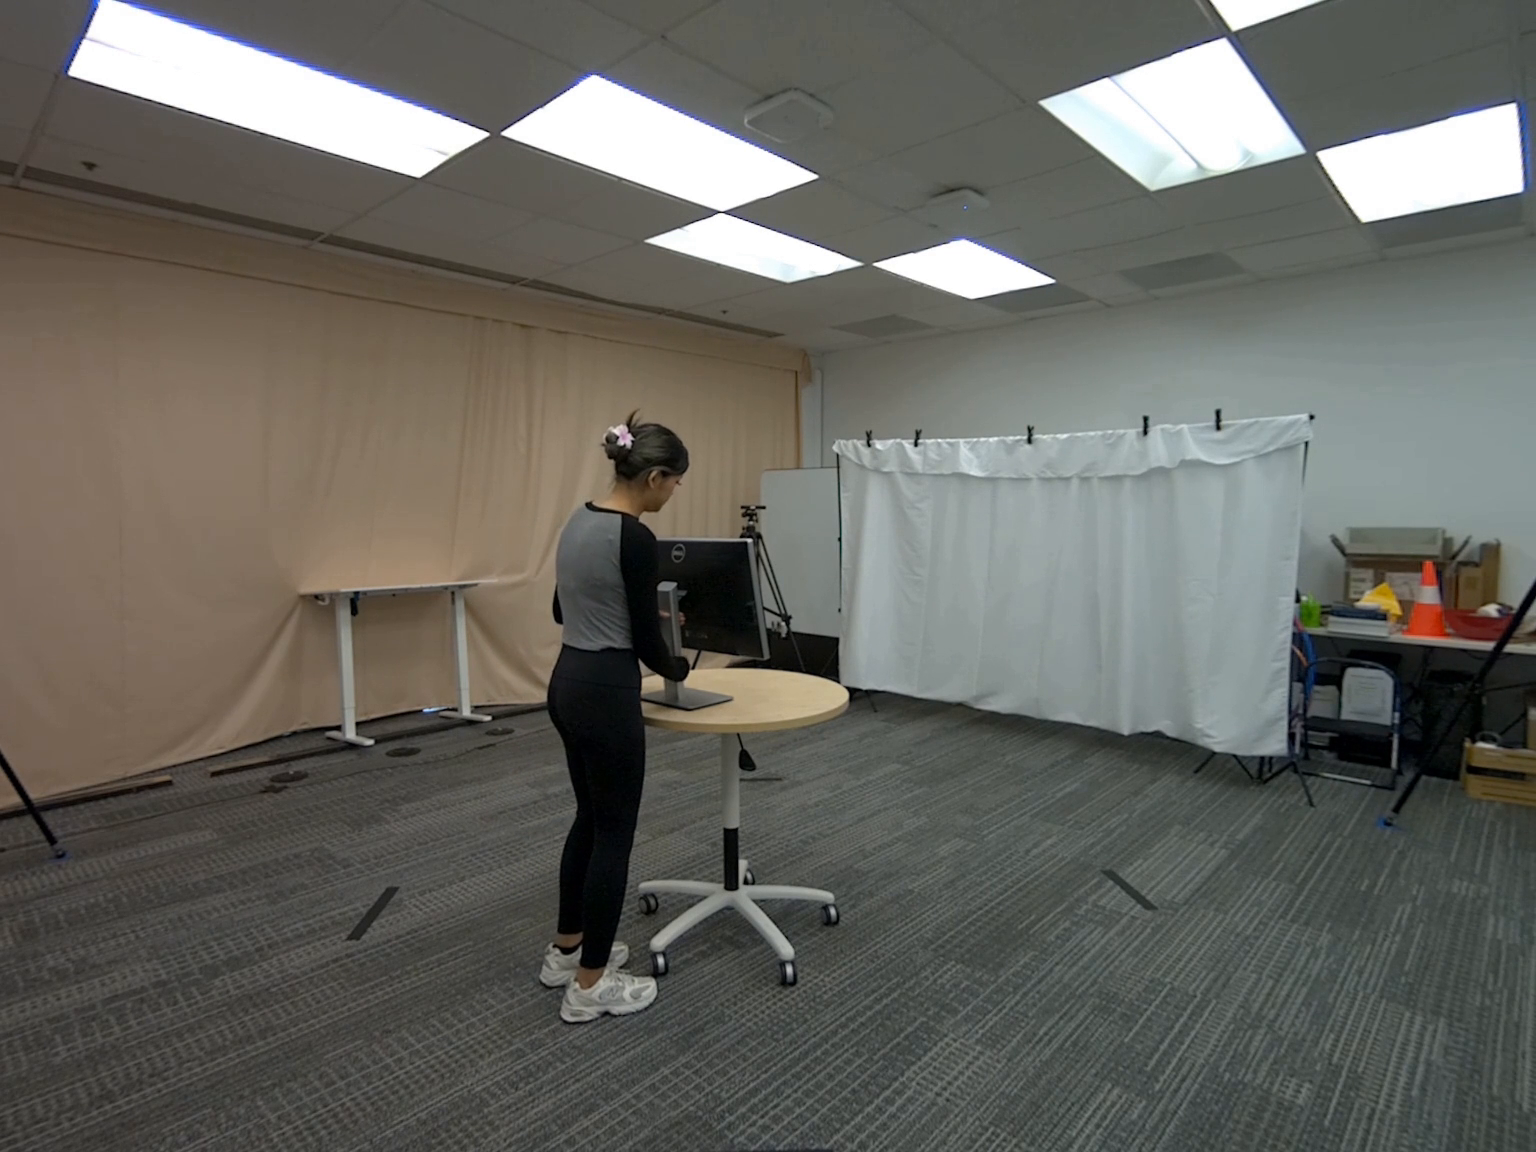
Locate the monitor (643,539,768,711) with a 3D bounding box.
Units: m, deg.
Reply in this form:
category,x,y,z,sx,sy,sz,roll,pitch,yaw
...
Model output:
category,x,y,z,sx,sy,sz,roll,pitch,yaw
monitor,-0.261,0.144,2.616,0.557,0.522,0.181,3,1,41
